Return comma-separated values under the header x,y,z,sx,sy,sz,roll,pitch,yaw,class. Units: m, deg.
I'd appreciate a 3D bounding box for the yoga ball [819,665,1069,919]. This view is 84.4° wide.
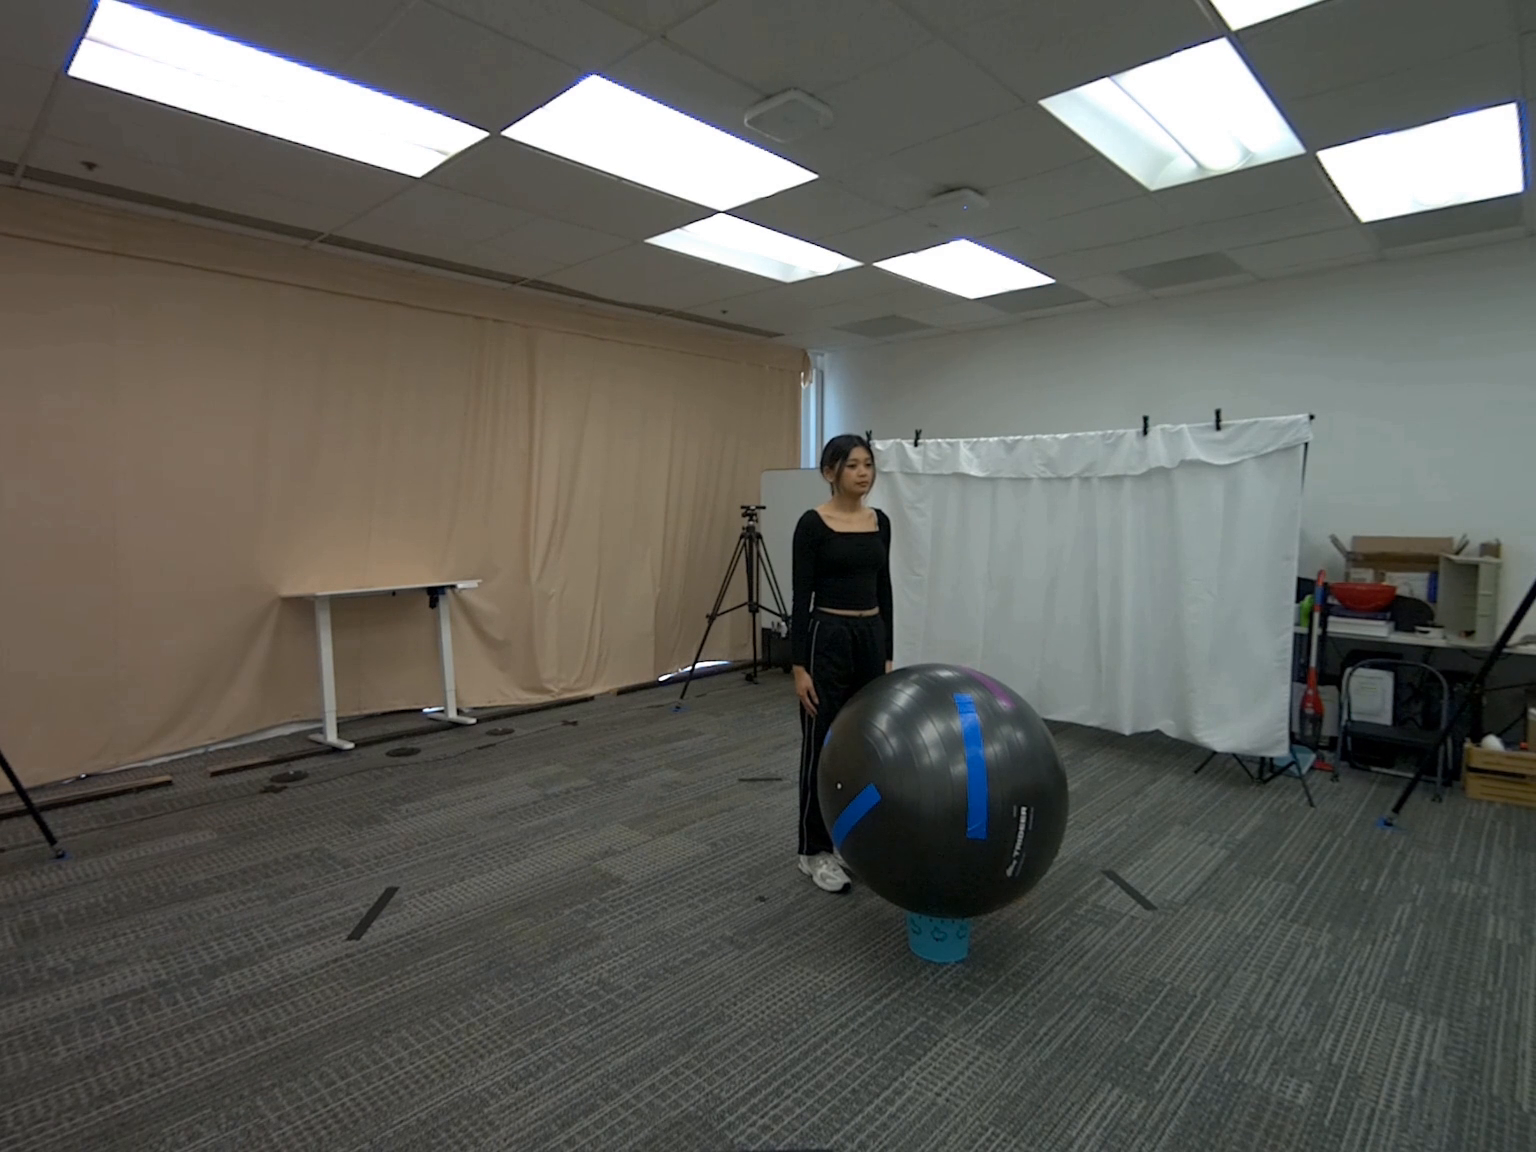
x,y,z,sx,sy,sz,roll,pitch,yaw,class
0.541,0.659,2.633,0.757,0.756,0.760,0,4,-2,yoga ball
